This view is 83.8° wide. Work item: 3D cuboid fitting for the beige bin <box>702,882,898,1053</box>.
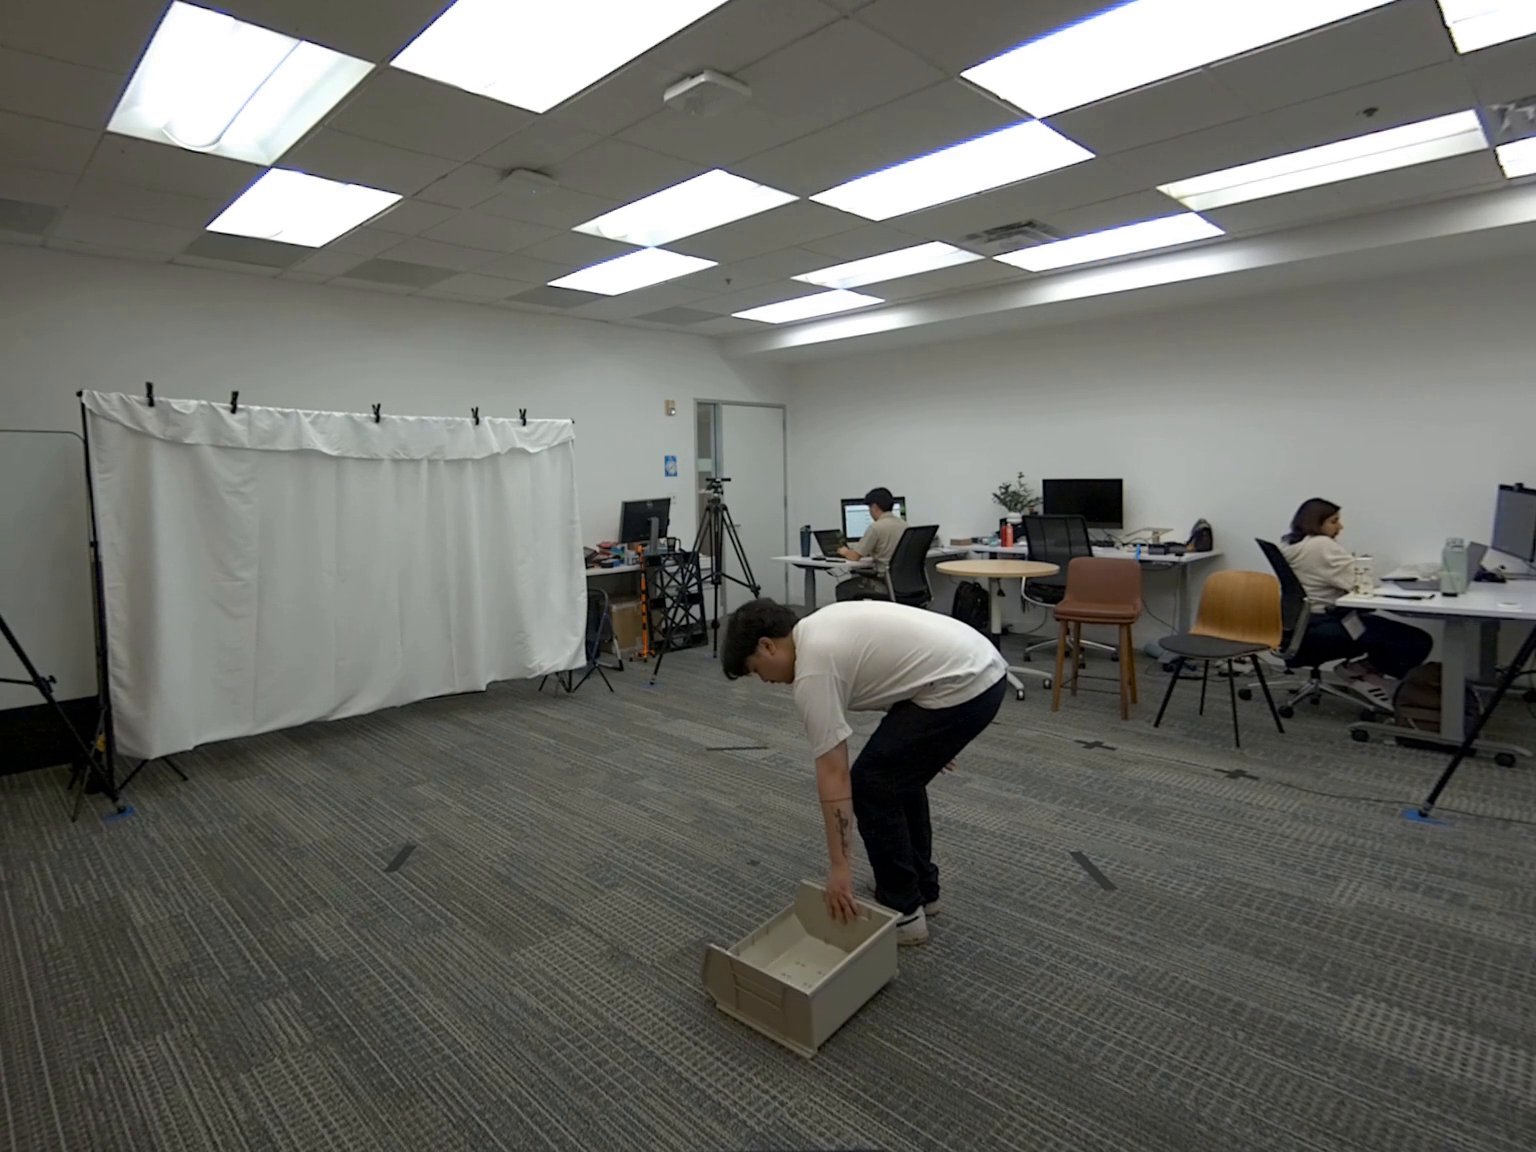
[{"bbox_3d":[0.099,1.030,2.306,0.389,0.187,0.413,5,12,41],"label":"beige bin"}]
